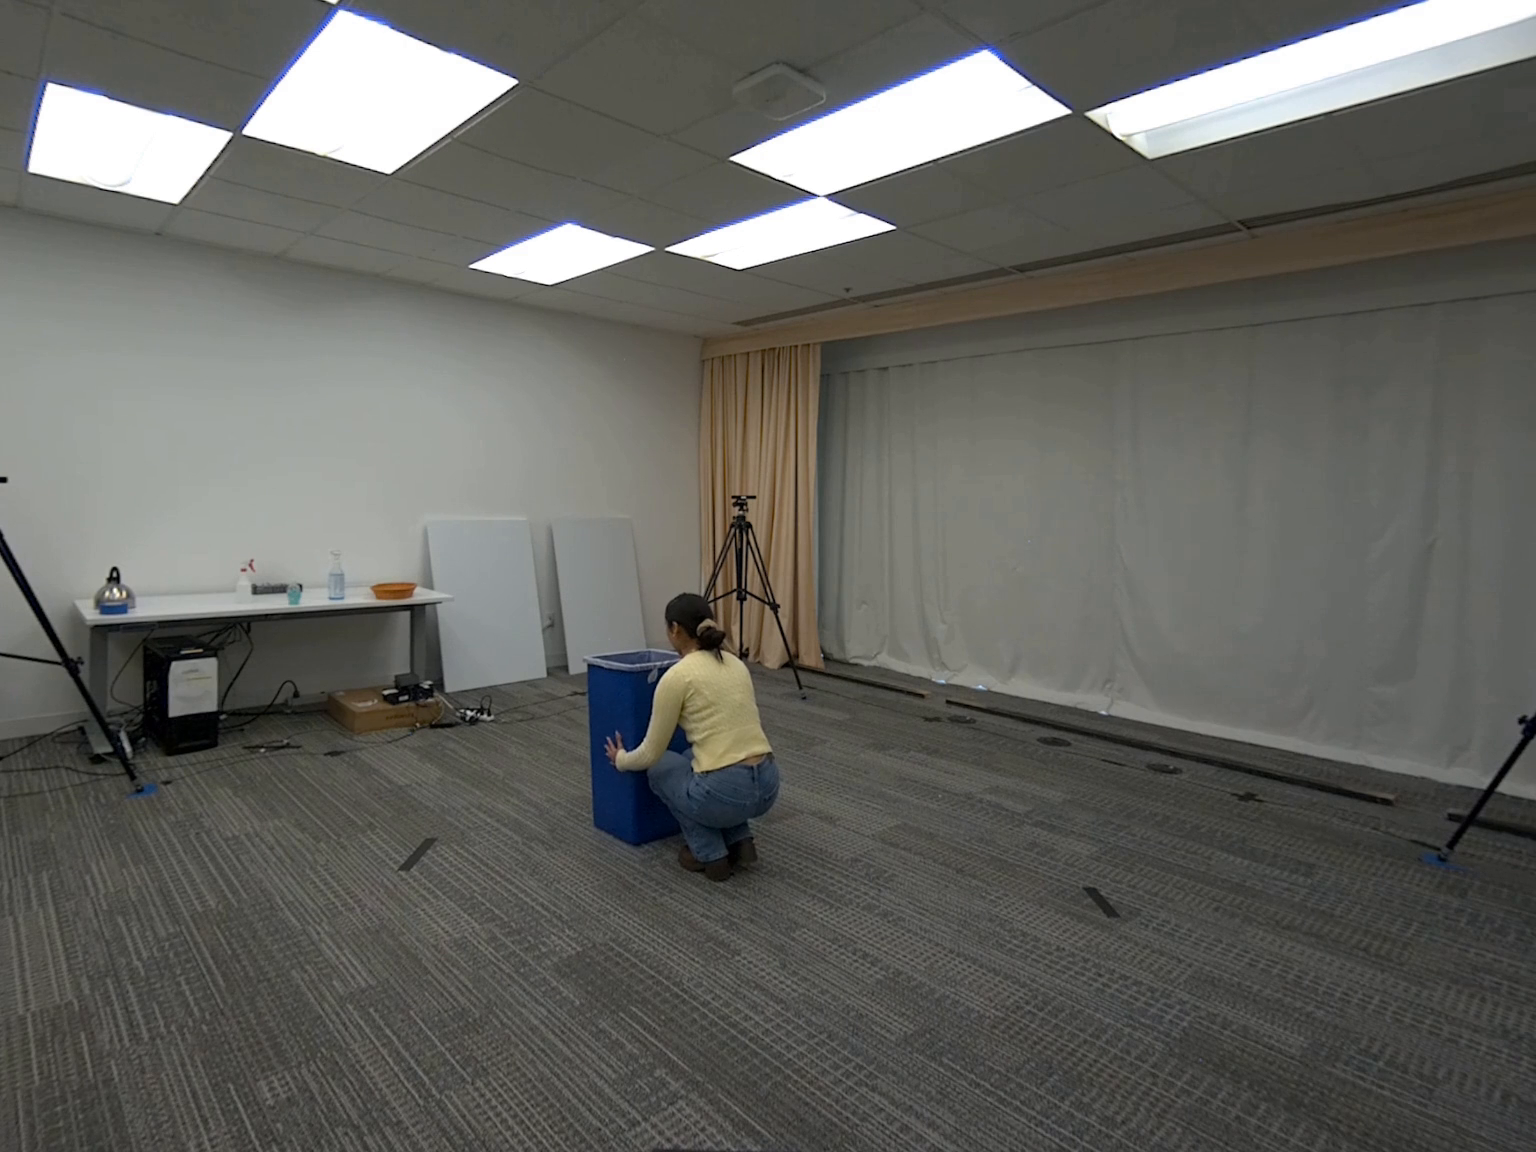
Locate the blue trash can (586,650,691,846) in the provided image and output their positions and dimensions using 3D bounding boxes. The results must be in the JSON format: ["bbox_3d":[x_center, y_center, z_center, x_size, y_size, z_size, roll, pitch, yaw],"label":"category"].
[{"bbox_3d":[-0.539,0.693,3.525,0.369,0.713,0.383,-1,2,-45],"label":"blue trash can"}]
